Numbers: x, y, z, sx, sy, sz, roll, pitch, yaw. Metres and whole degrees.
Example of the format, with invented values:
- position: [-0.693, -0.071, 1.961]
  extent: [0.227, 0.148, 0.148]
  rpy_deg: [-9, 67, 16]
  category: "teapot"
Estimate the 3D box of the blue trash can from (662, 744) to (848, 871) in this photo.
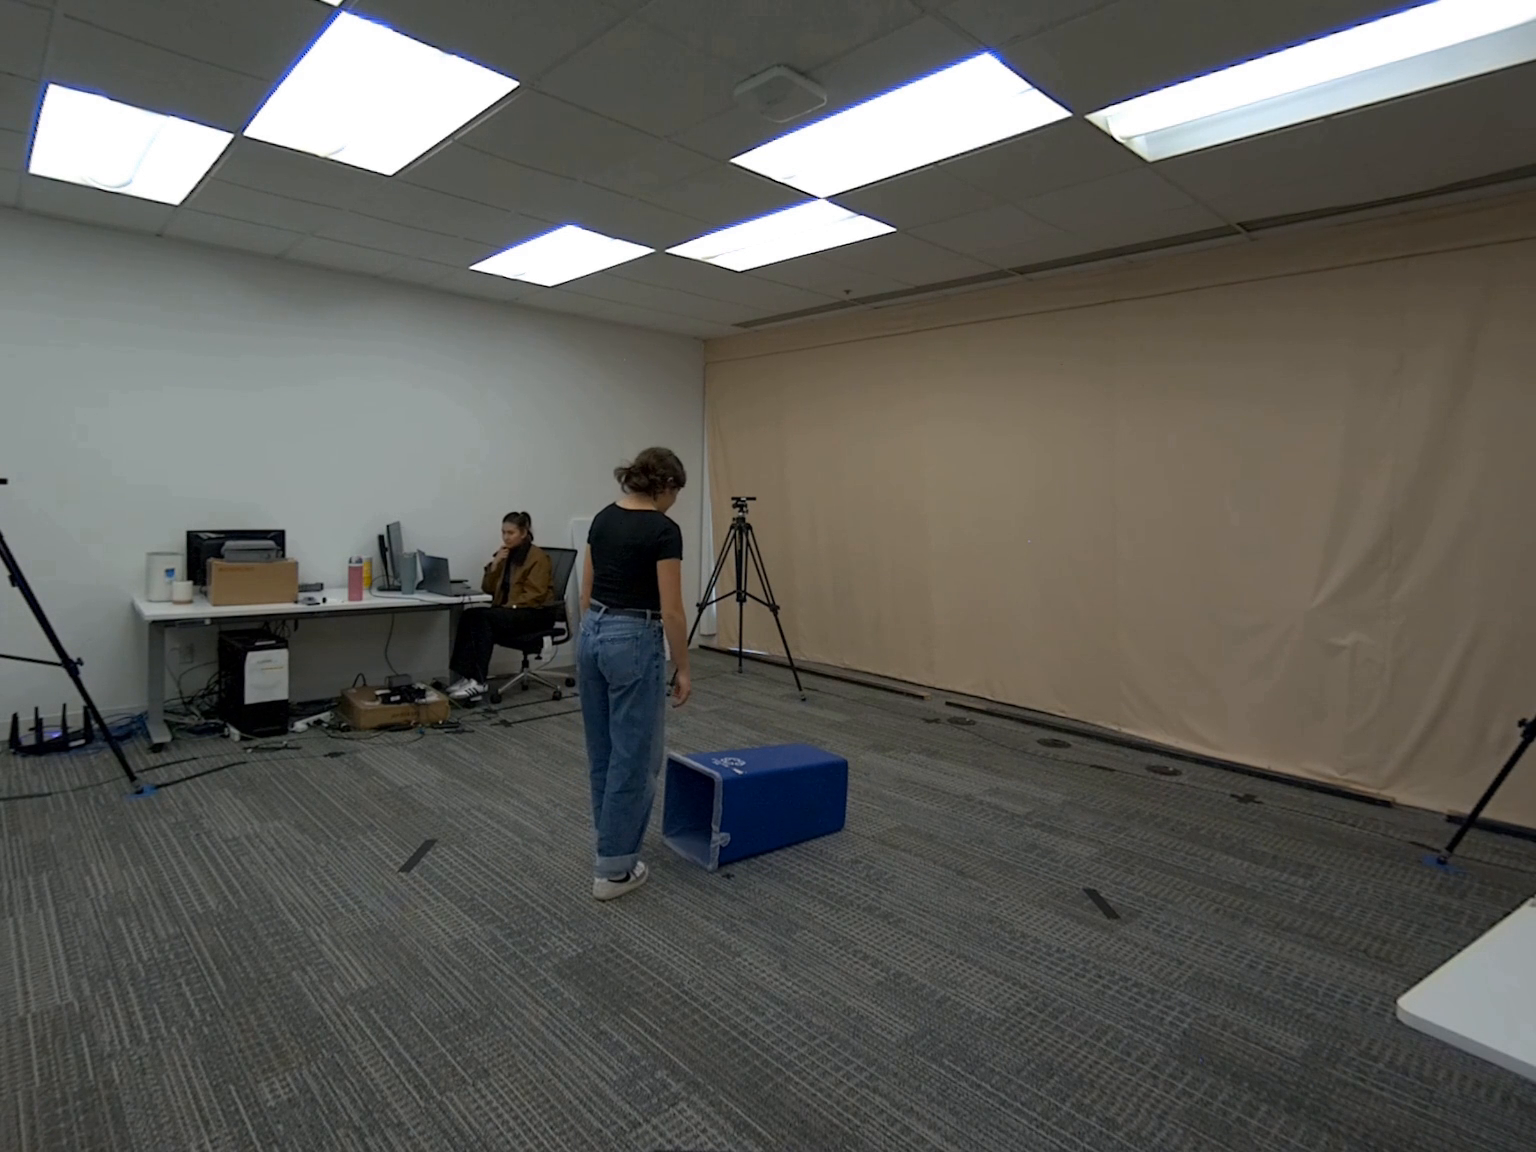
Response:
- position: [-0.044, 0.912, 3.470]
  extent: [0.696, 0.378, 0.383]
  rpy_deg: [2, 3, -39]
  category: "blue trash can"
